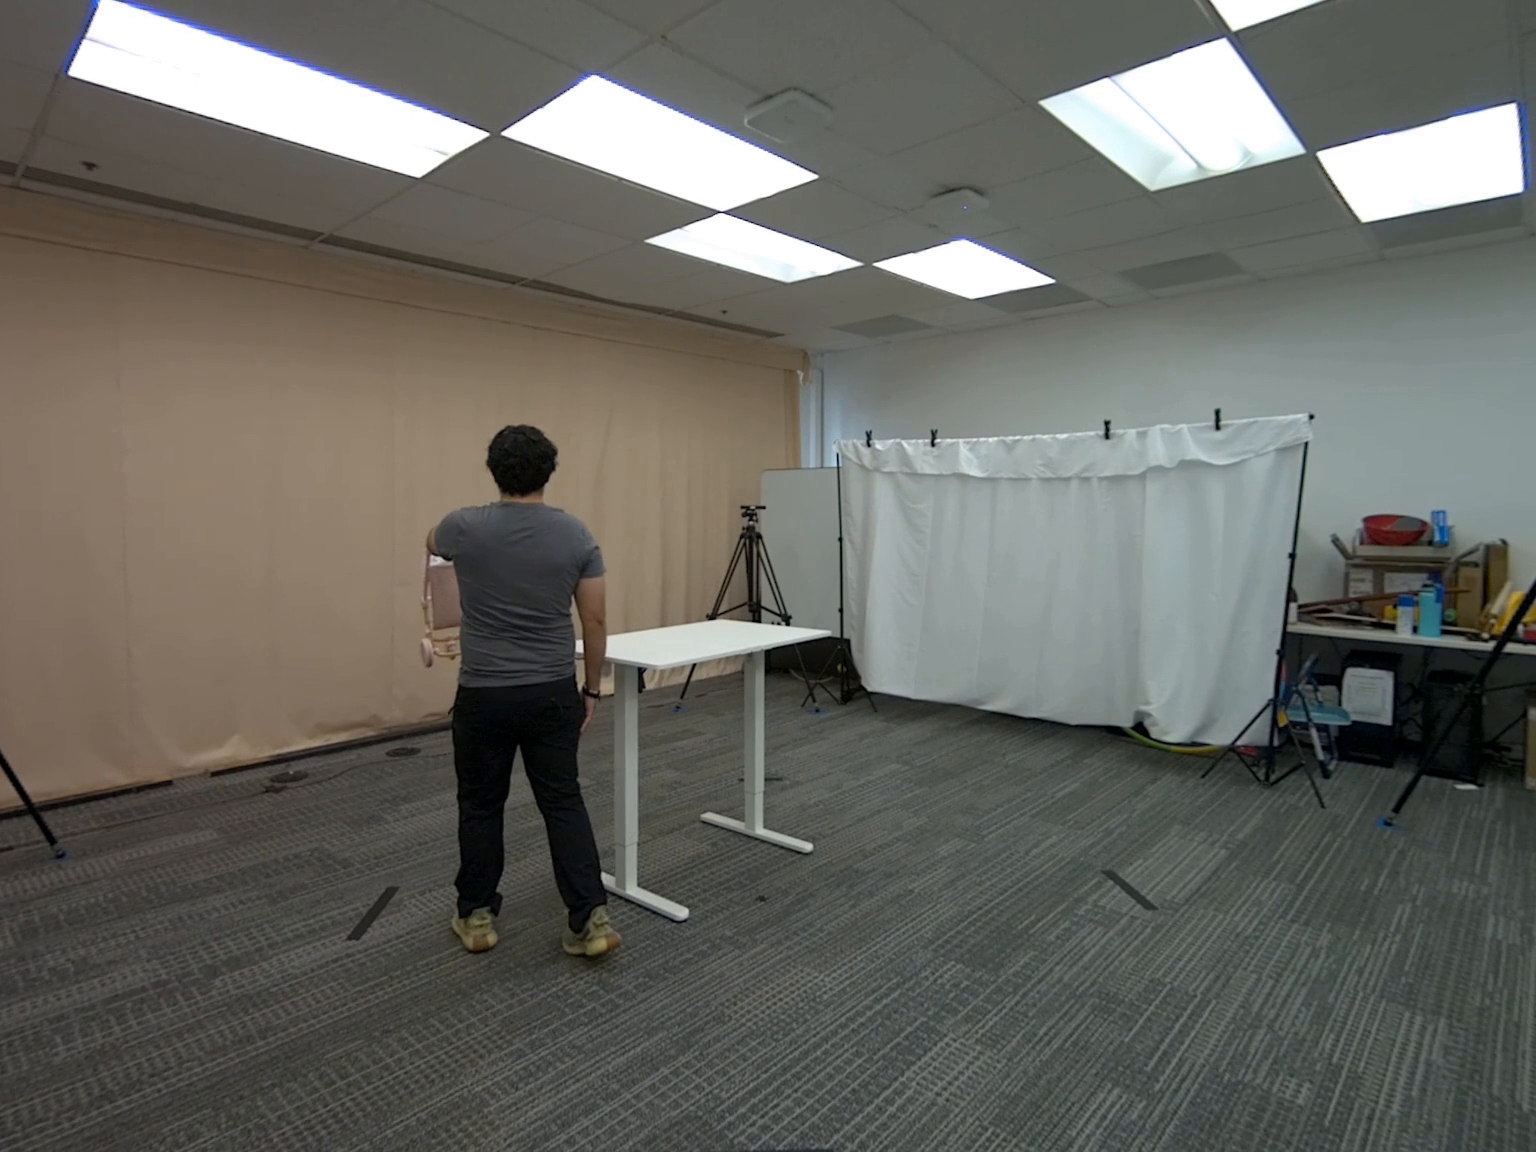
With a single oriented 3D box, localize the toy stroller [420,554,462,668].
[{"bbox_3d":[-1.212,0.099,3.240,0.275,0.531,0.351,-6,13,-24],"label":"toy stroller"}]
